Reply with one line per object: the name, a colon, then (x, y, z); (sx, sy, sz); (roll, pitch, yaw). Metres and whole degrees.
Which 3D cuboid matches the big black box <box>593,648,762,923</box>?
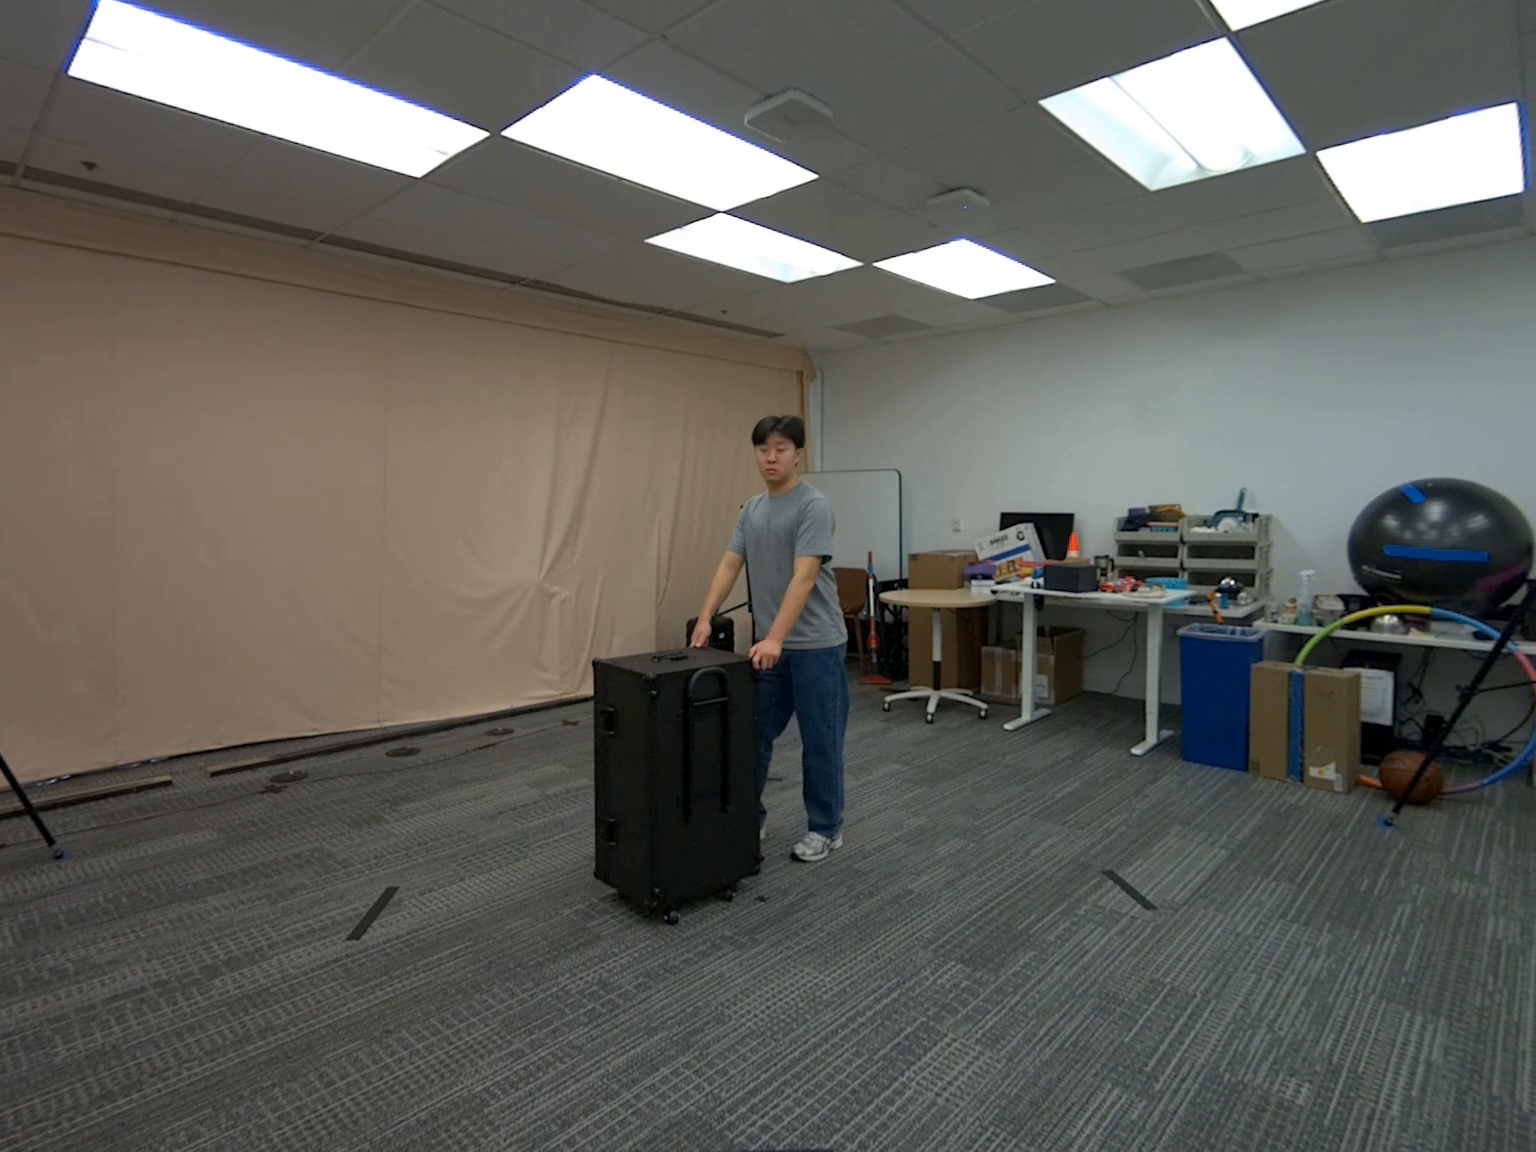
big black box: (-0.309, 0.720, 2.990); (0.505, 0.860, 0.409); (-2, 4, -41)
